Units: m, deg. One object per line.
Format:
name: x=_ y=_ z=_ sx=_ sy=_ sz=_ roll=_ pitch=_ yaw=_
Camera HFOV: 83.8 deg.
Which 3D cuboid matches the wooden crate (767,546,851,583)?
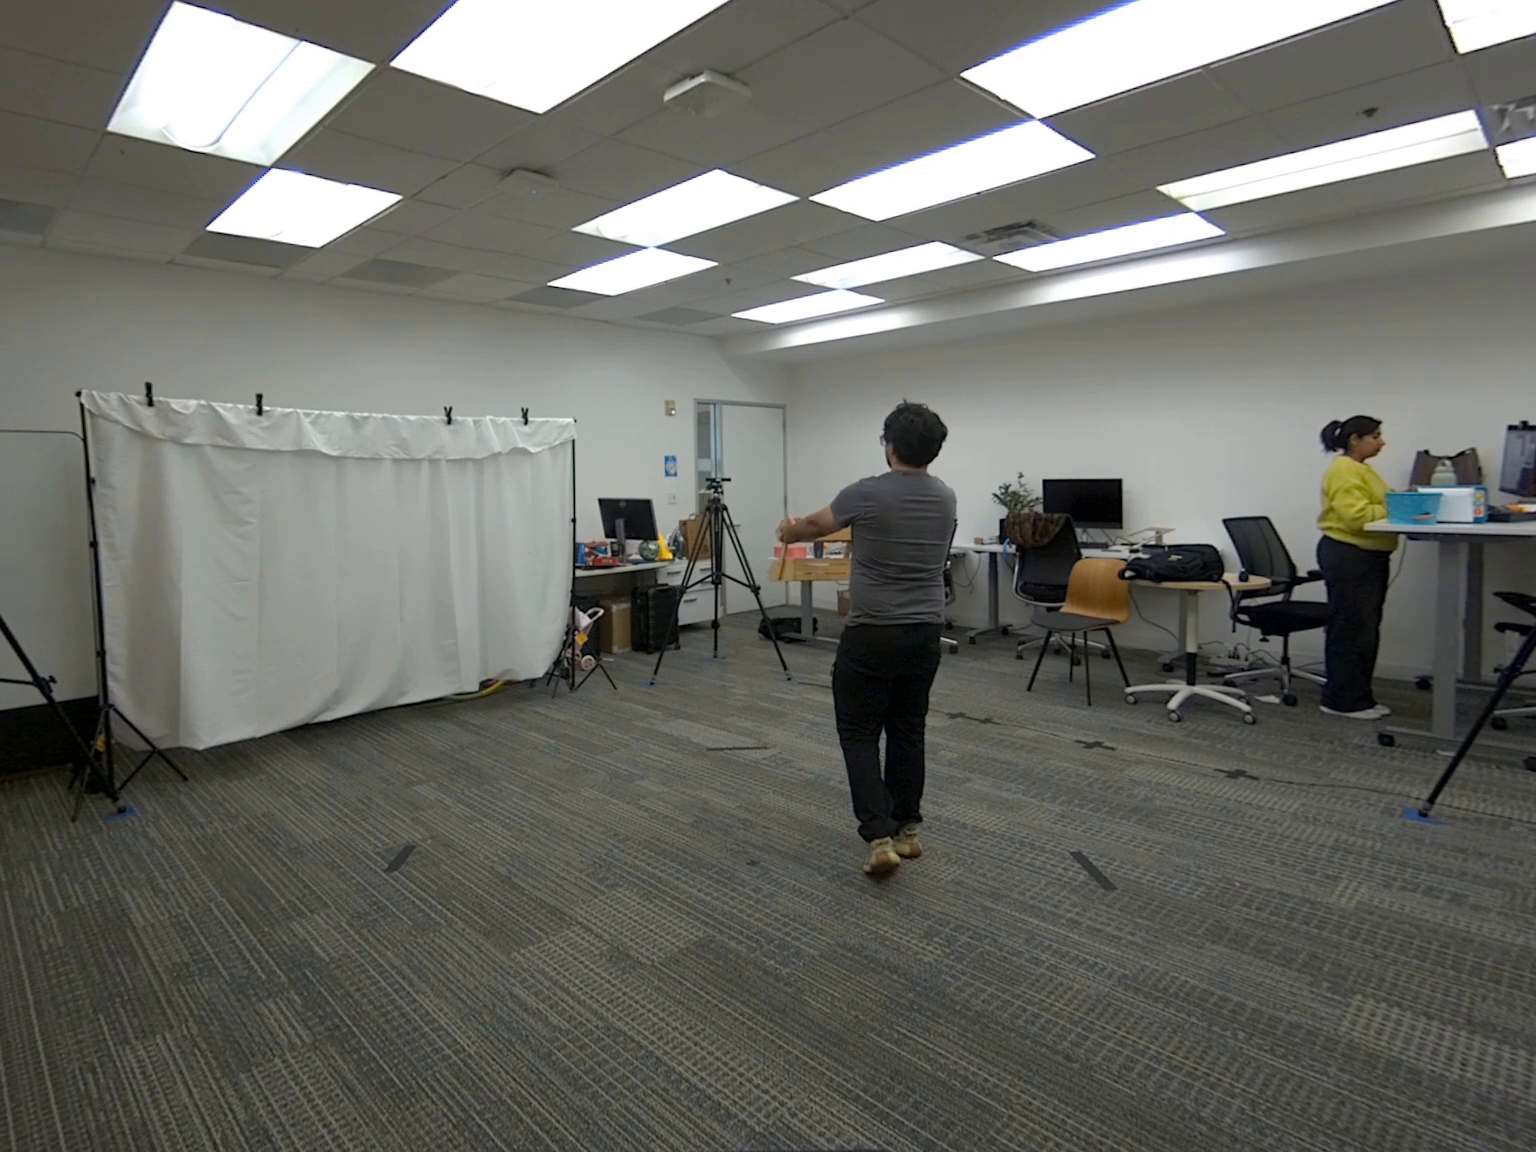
wooden crate: x=0.199 y=-0.112 z=3.699 sx=0.318 sy=0.274 sz=0.308 roll=-1 pitch=-1 yaw=-24
